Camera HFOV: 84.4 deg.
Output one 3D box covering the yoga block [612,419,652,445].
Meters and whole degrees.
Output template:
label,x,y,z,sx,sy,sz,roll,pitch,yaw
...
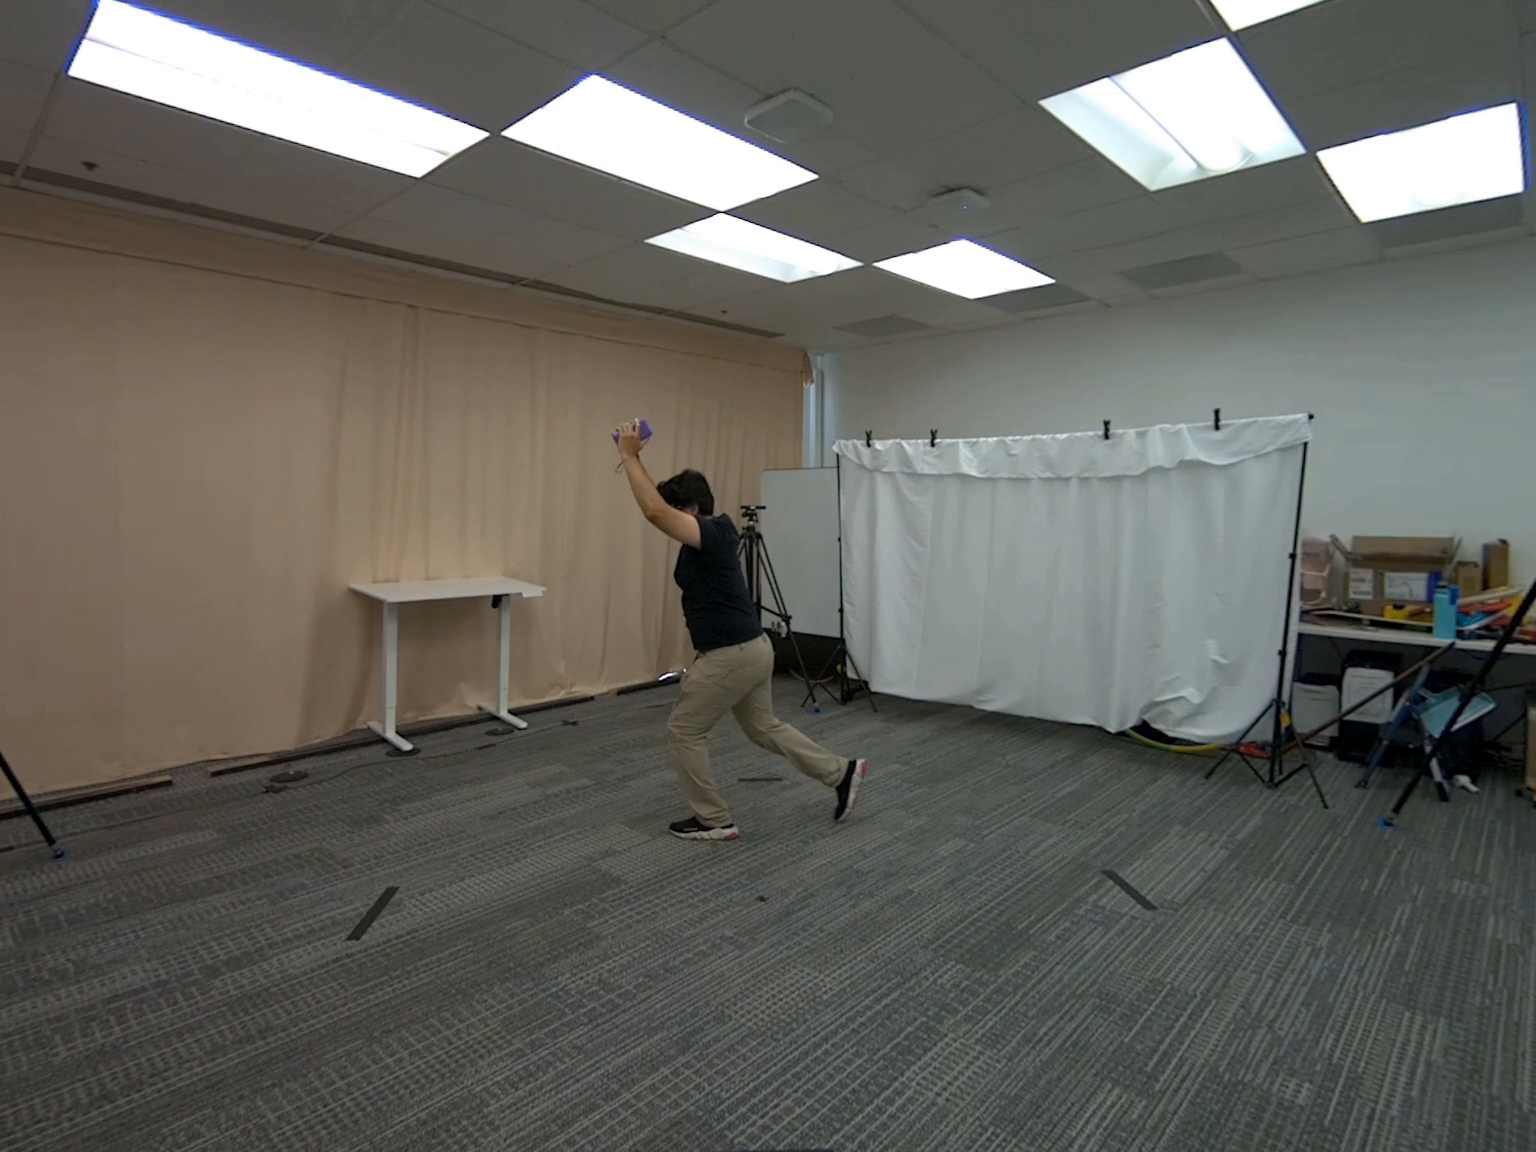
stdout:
label,x,y,z,sx,sy,sz,roll,pitch,yaw
yoga block,-0.538,-0.578,3.432,0.149,0.075,0.232,-32,13,-3
